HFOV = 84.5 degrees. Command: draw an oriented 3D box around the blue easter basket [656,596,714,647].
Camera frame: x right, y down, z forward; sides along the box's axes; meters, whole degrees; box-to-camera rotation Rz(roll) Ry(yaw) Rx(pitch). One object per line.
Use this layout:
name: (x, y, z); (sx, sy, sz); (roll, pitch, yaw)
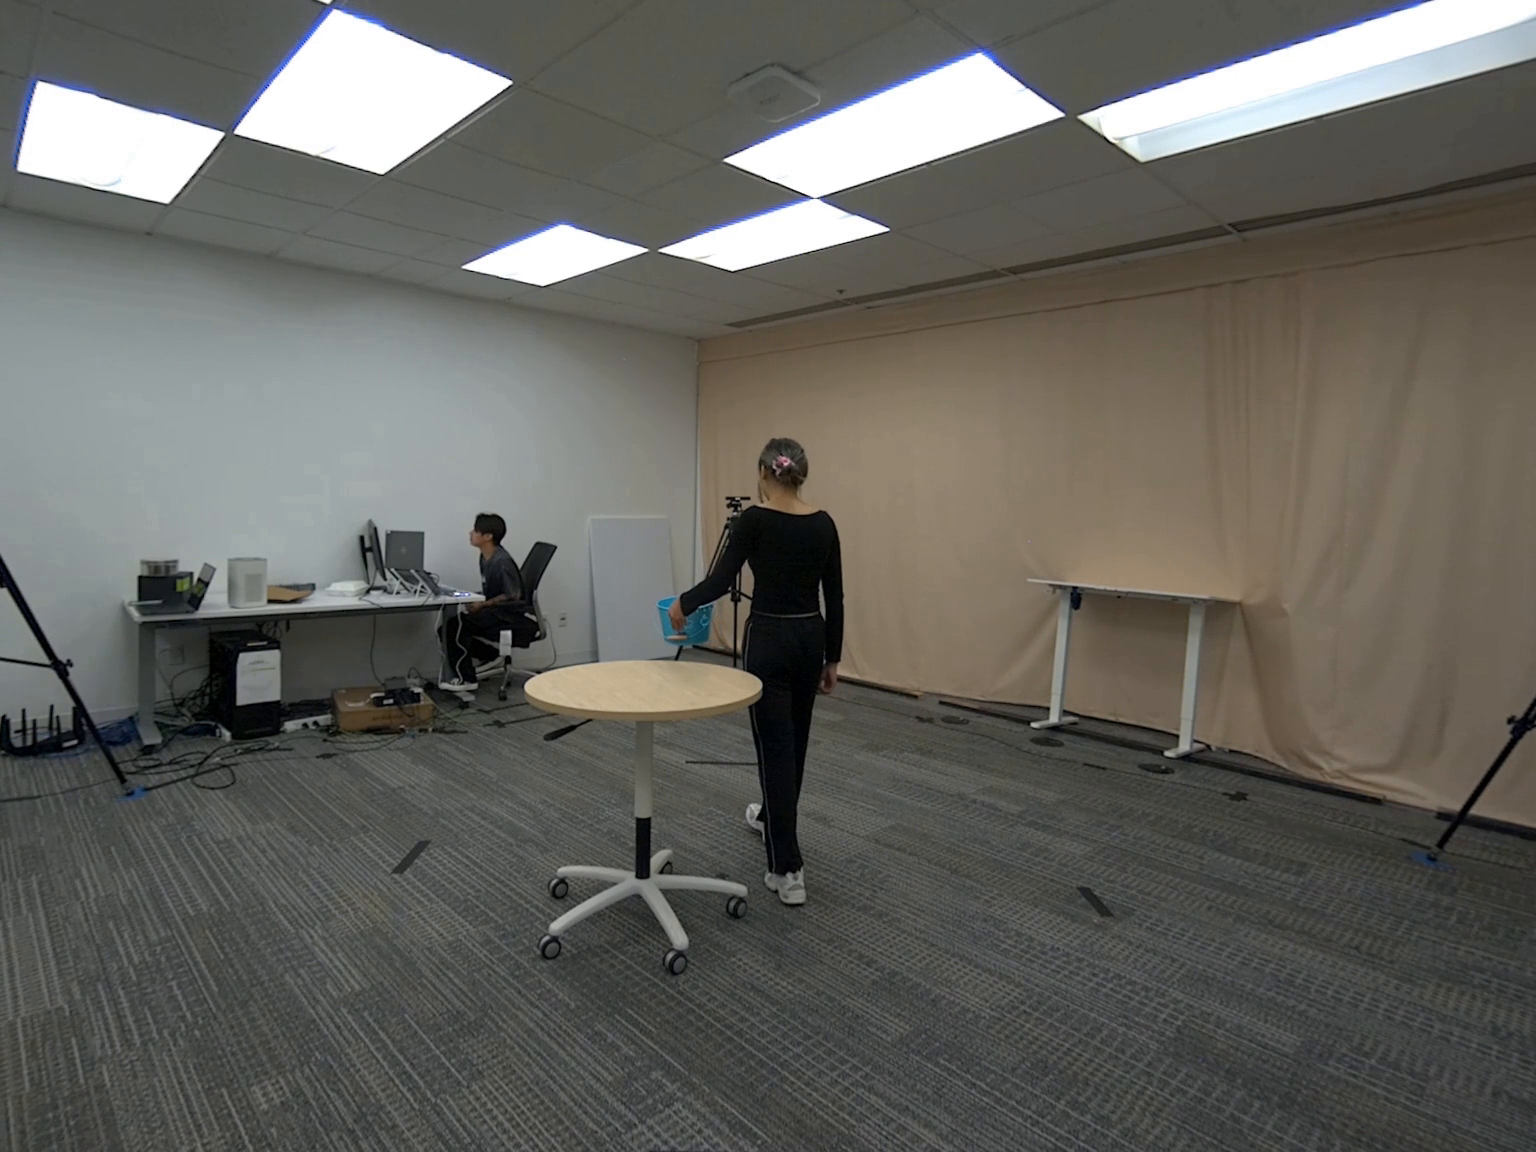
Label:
blue easter basket: (-0.336, 0.176, 3.343); (0.243, 0.155, 0.245); (-2, 9, -1)
